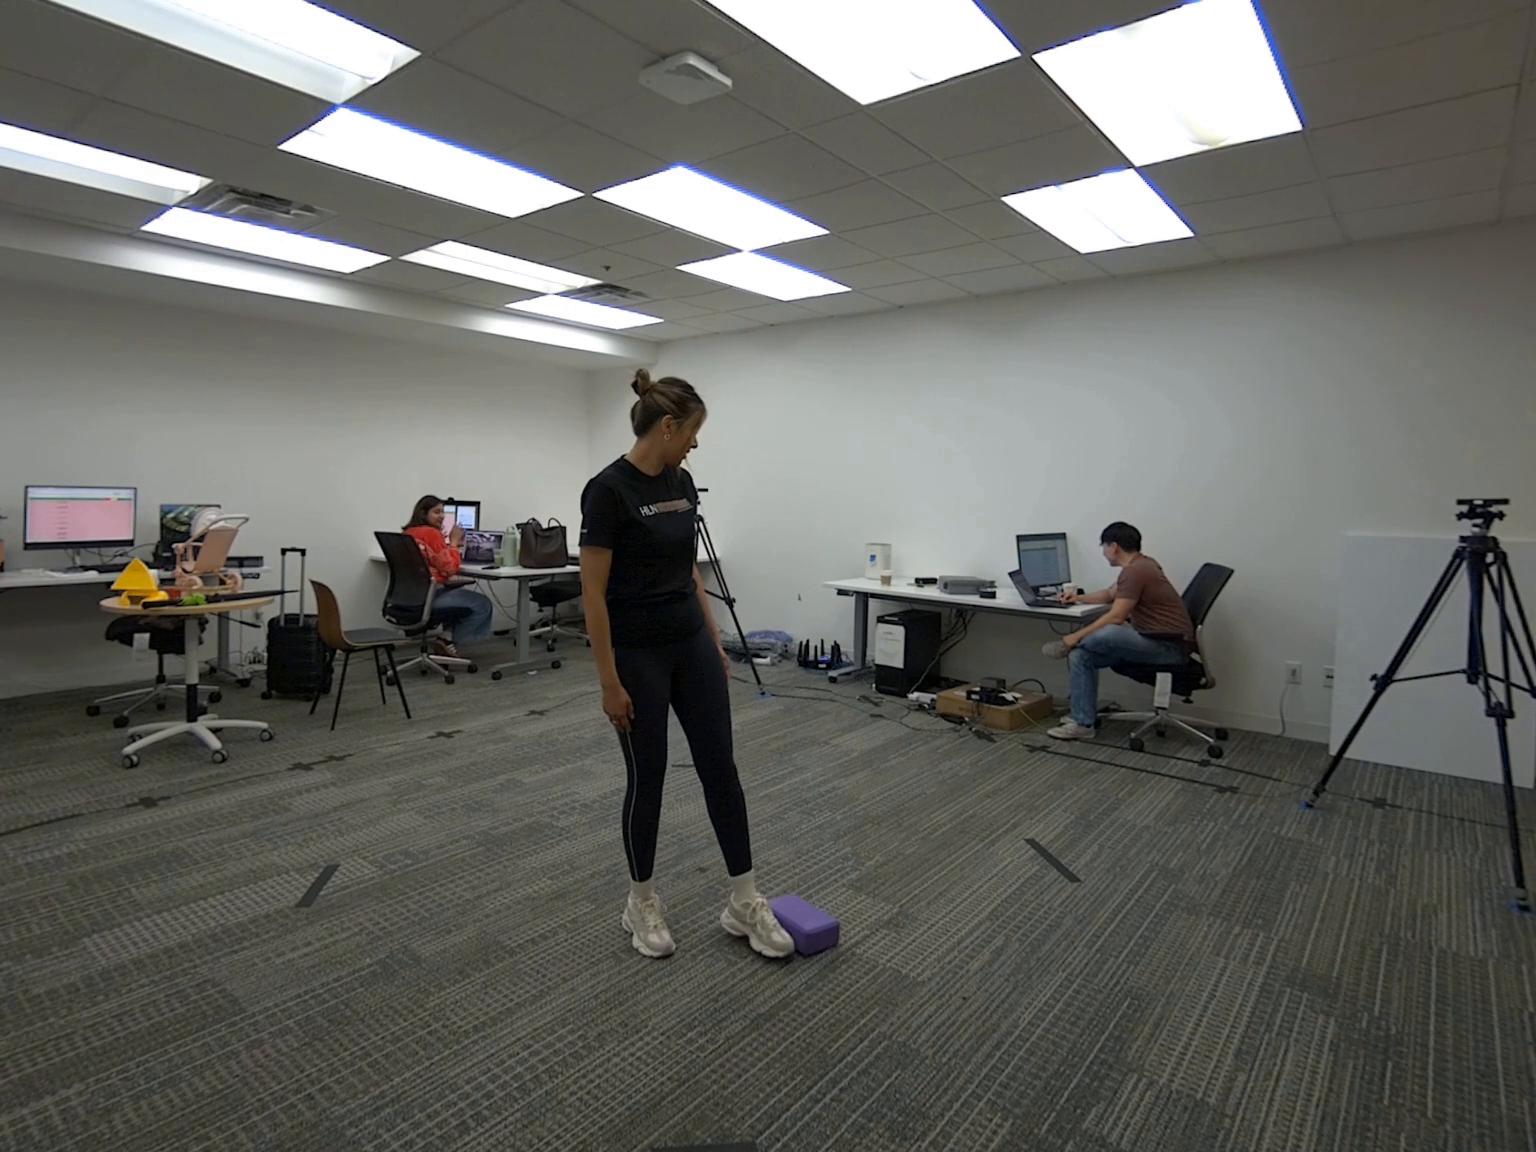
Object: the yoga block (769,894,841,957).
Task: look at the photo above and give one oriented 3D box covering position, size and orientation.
[{"bbox_3d":[0.087,1.078,2.654,0.144,0.076,0.237,0,4,-40],"label":"yoga block"}]
